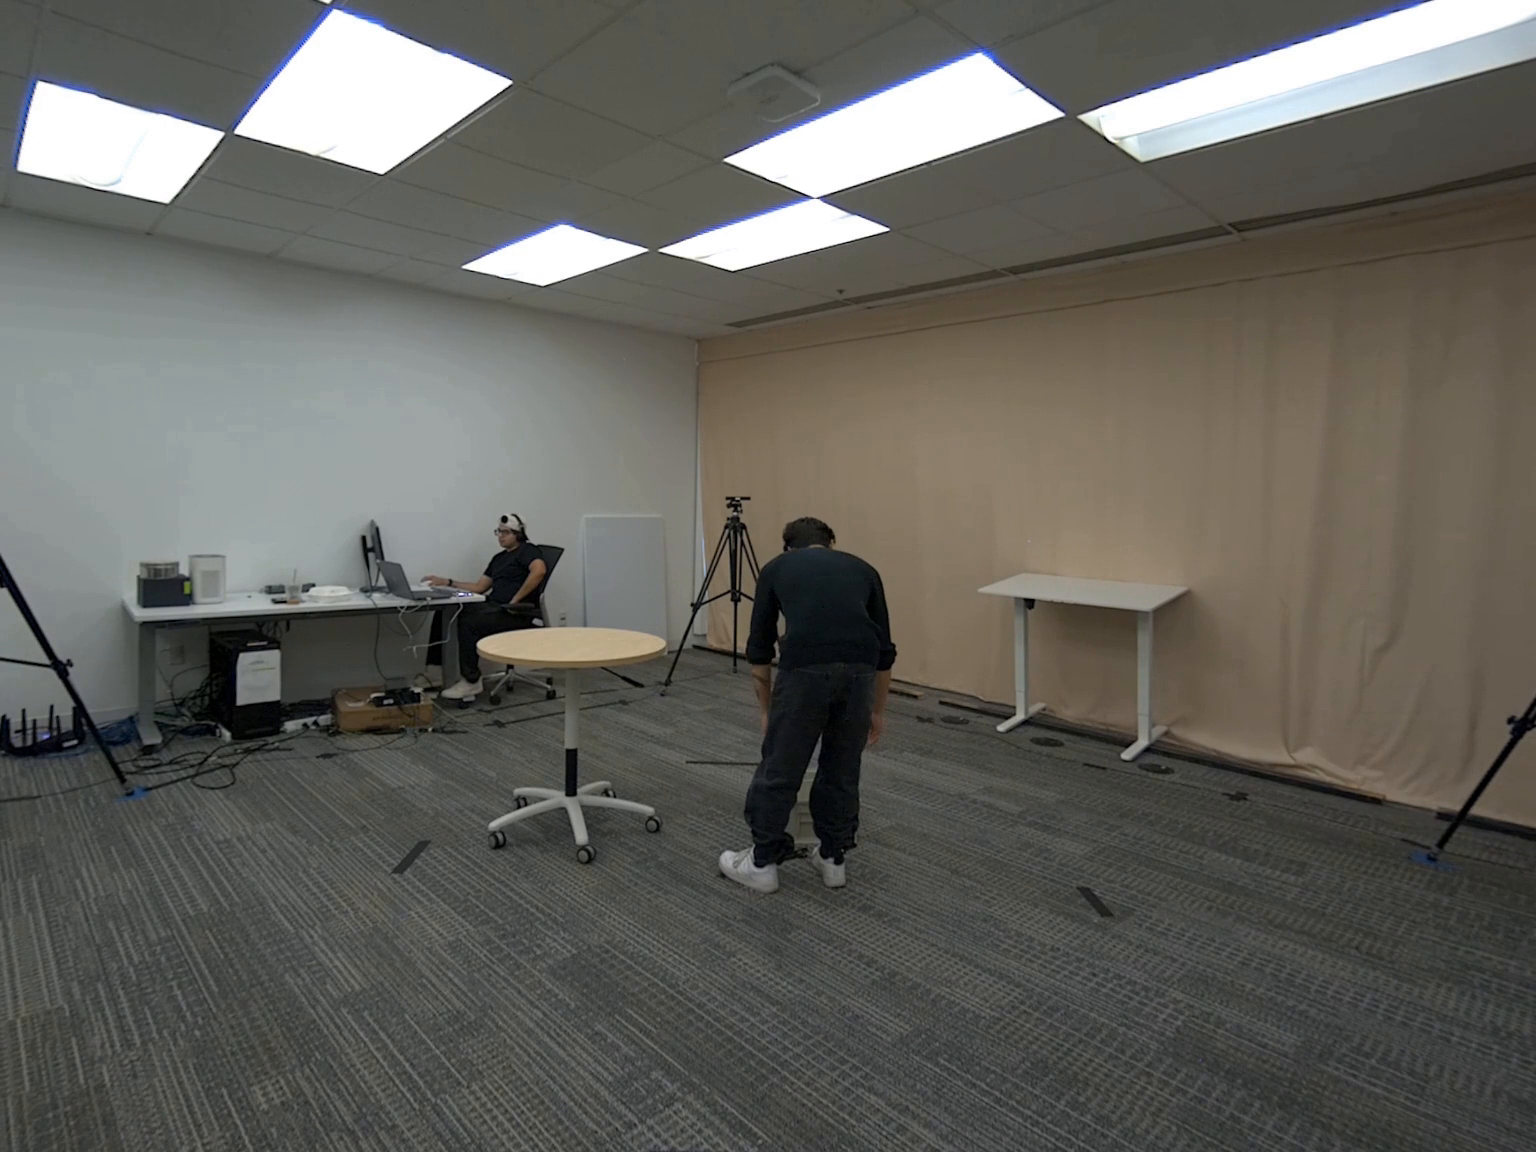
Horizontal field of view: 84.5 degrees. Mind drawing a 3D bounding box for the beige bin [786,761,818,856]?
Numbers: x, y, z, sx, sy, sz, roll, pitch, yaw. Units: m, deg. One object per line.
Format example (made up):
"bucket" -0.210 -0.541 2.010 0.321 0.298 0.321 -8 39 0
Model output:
"beige bin" 0.166 0.985 3.619 0.376 0.188 0.425 1 4 -5
